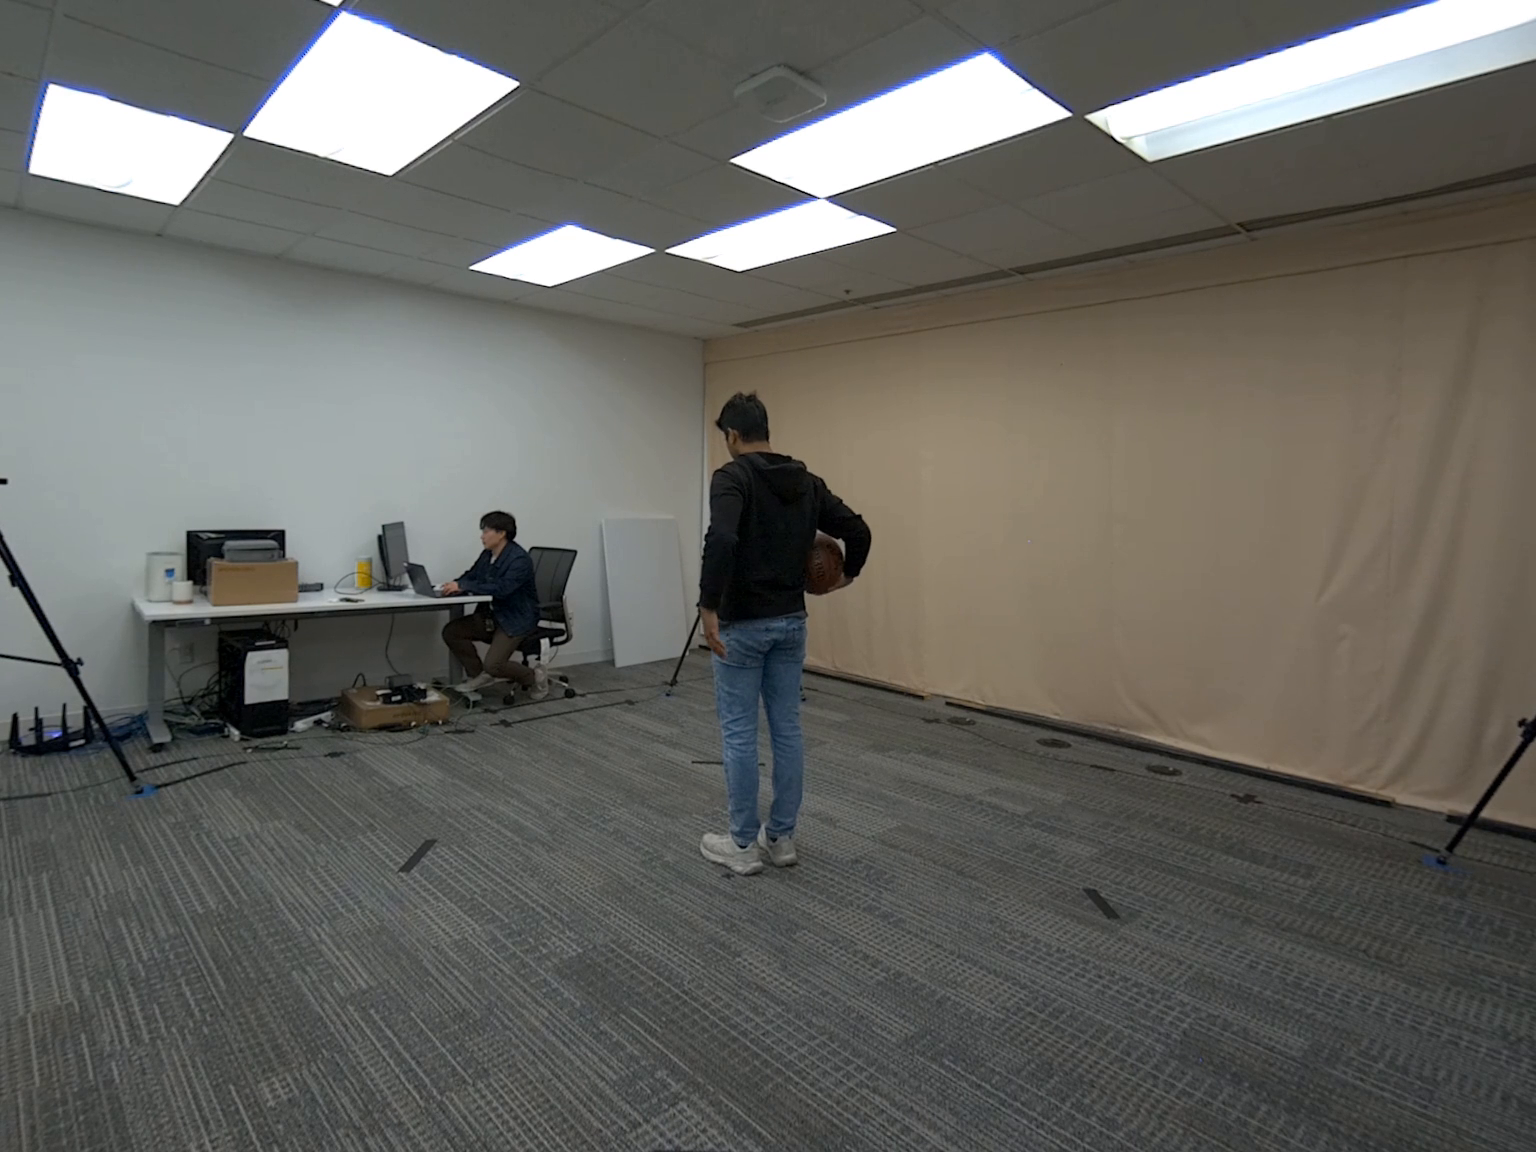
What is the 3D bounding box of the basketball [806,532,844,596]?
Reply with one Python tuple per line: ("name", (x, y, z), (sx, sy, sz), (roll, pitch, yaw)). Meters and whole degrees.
("basketball", (0.170, -0.063, 3.394), (0.236, 0.235, 0.237), (1, 4, -1))
